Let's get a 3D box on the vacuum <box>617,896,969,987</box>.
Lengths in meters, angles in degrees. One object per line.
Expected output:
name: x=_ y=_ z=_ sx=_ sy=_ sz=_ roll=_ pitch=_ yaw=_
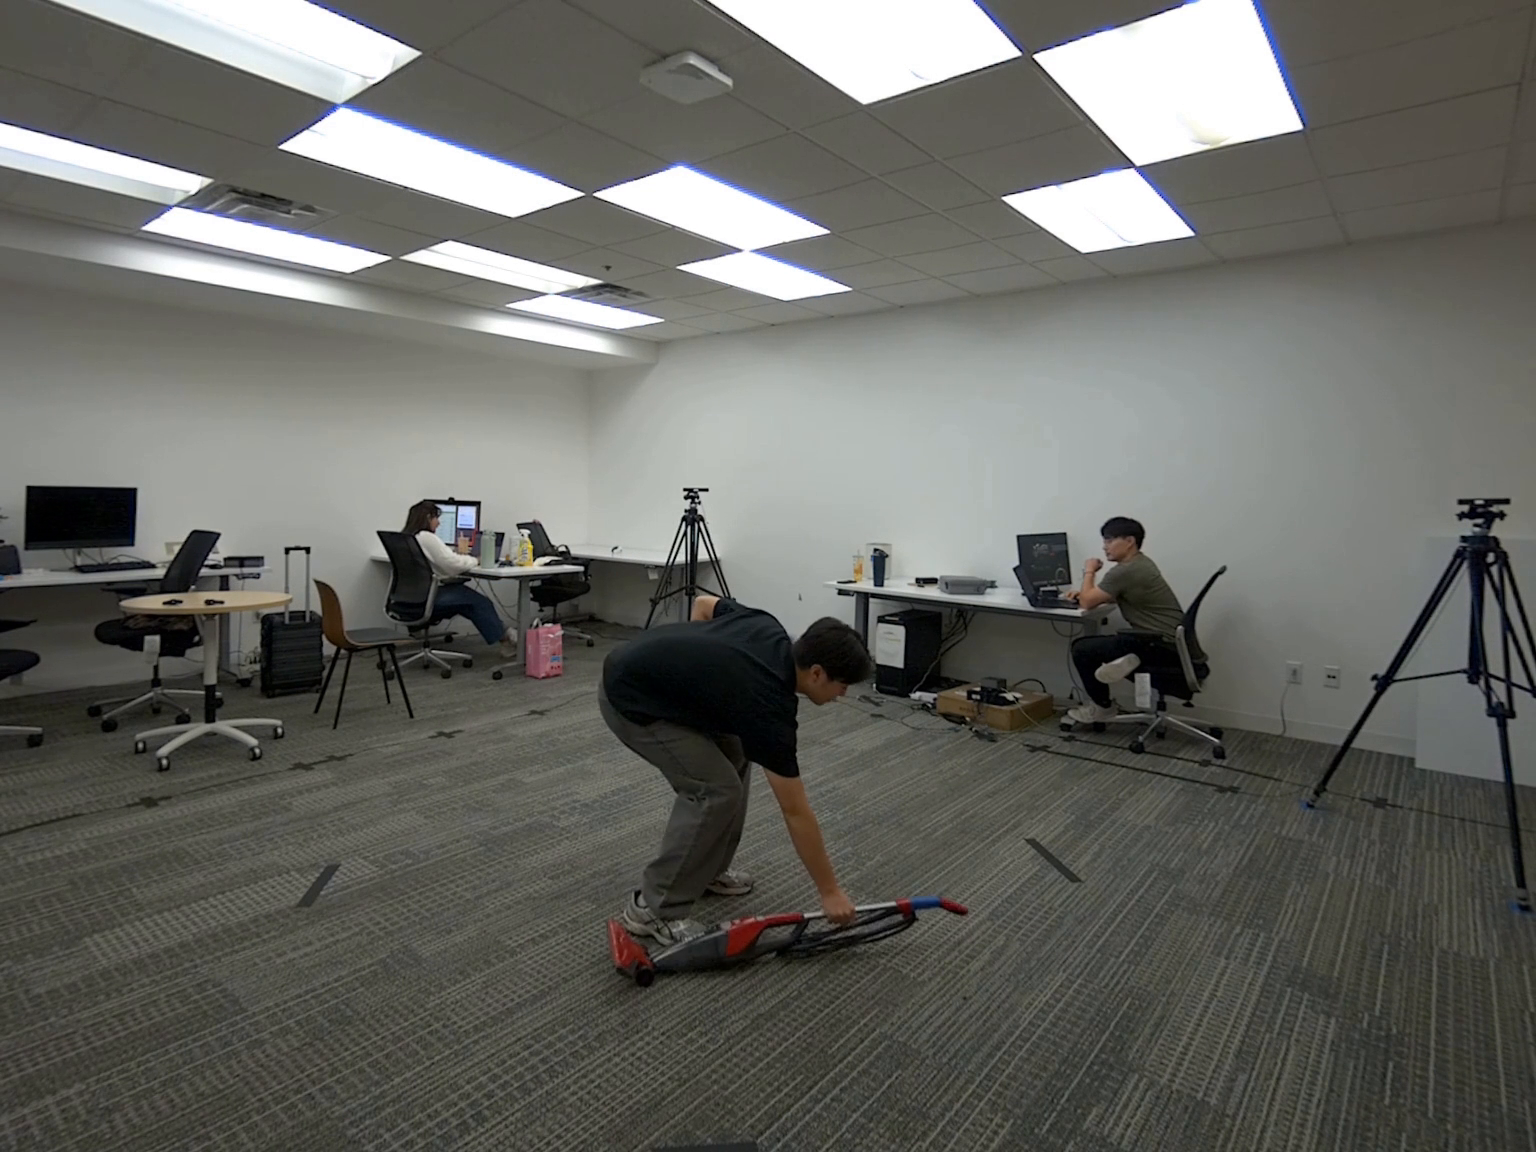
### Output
vacuum: x=0.111 y=1.030 z=2.533 sx=1.035 sy=0.143 sz=0.258 roll=-4 pitch=9 yaw=-13
